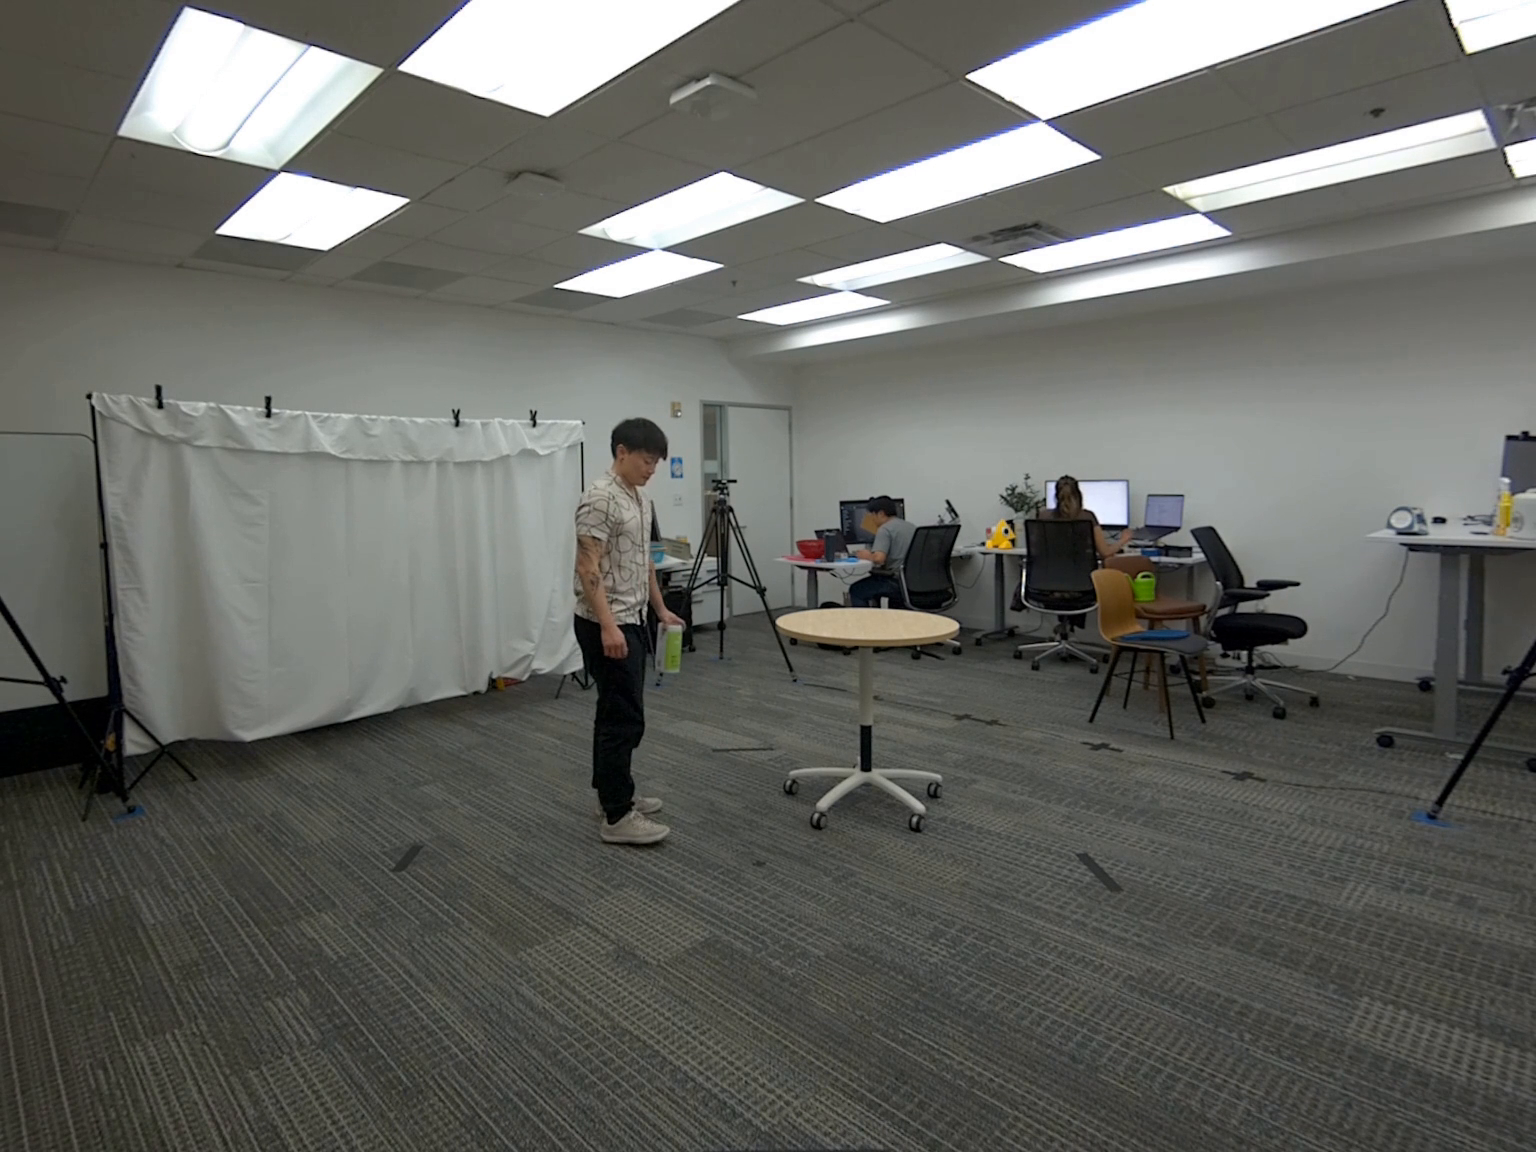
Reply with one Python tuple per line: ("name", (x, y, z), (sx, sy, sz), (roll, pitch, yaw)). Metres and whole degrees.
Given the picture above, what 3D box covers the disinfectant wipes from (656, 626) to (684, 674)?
("disinfectant wipes", (-0.440, 0.322, 3.800), (0.118, 0.217, 0.118), (2, 4, -2))
